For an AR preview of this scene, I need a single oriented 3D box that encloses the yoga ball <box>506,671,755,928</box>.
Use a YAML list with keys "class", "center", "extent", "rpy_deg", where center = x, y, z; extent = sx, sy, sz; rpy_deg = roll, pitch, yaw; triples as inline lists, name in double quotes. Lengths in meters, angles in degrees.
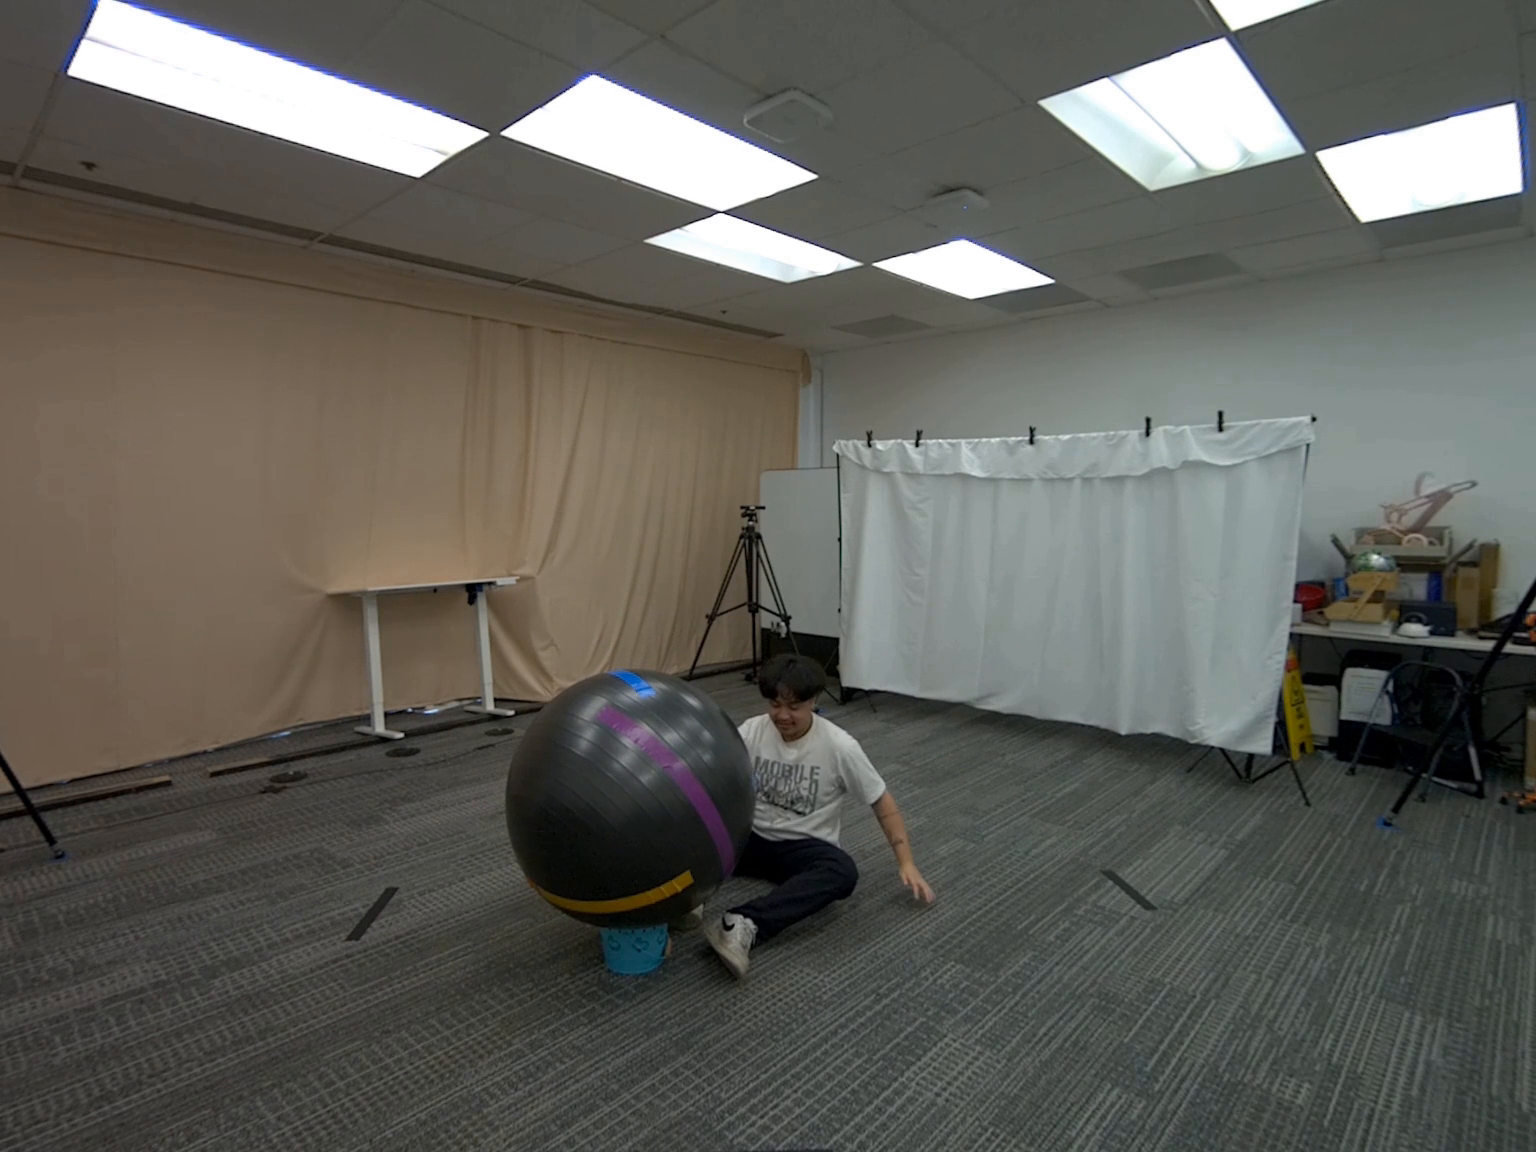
- class: "yoga ball"
  center: [-0.418, 0.668, 2.581]
  extent: [0.757, 0.756, 0.760]
  rpy_deg: [0, 4, -2]
